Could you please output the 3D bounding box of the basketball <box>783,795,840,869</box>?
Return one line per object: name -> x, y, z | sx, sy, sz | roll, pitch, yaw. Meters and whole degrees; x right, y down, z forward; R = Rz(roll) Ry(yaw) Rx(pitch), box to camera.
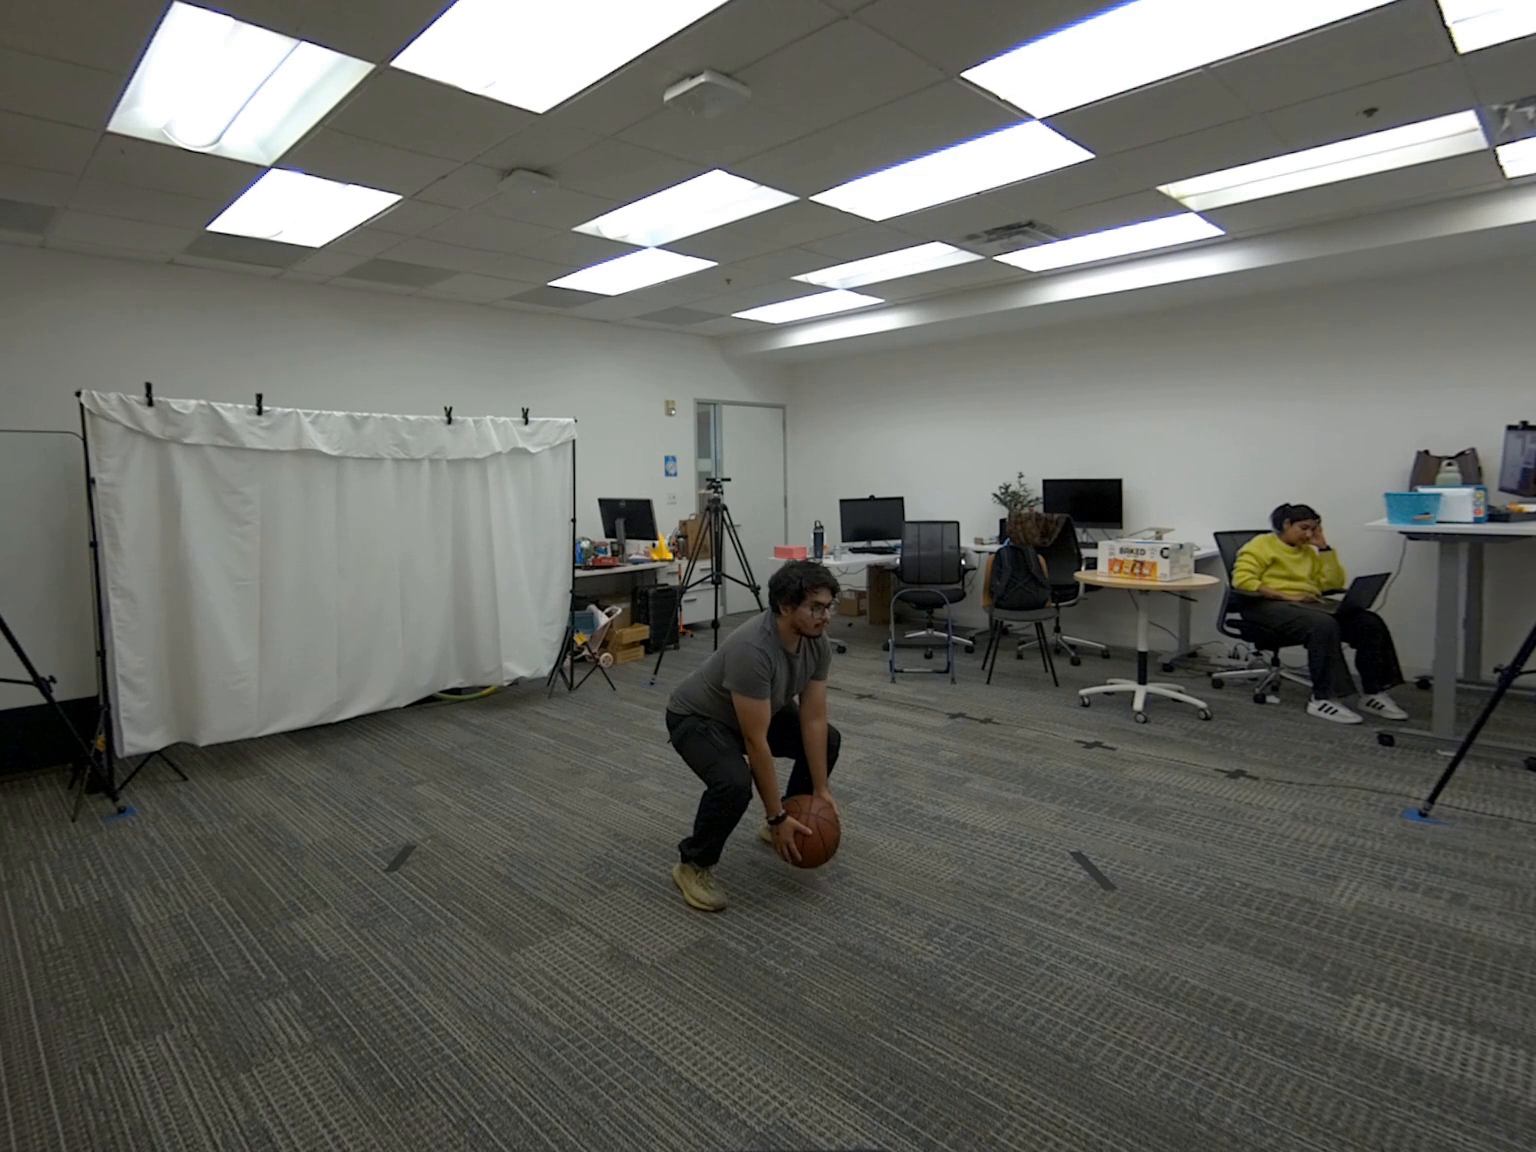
basketball -> 0.130, 0.865, 2.904 | 0.236, 0.235, 0.237 | -1, 5, -2
